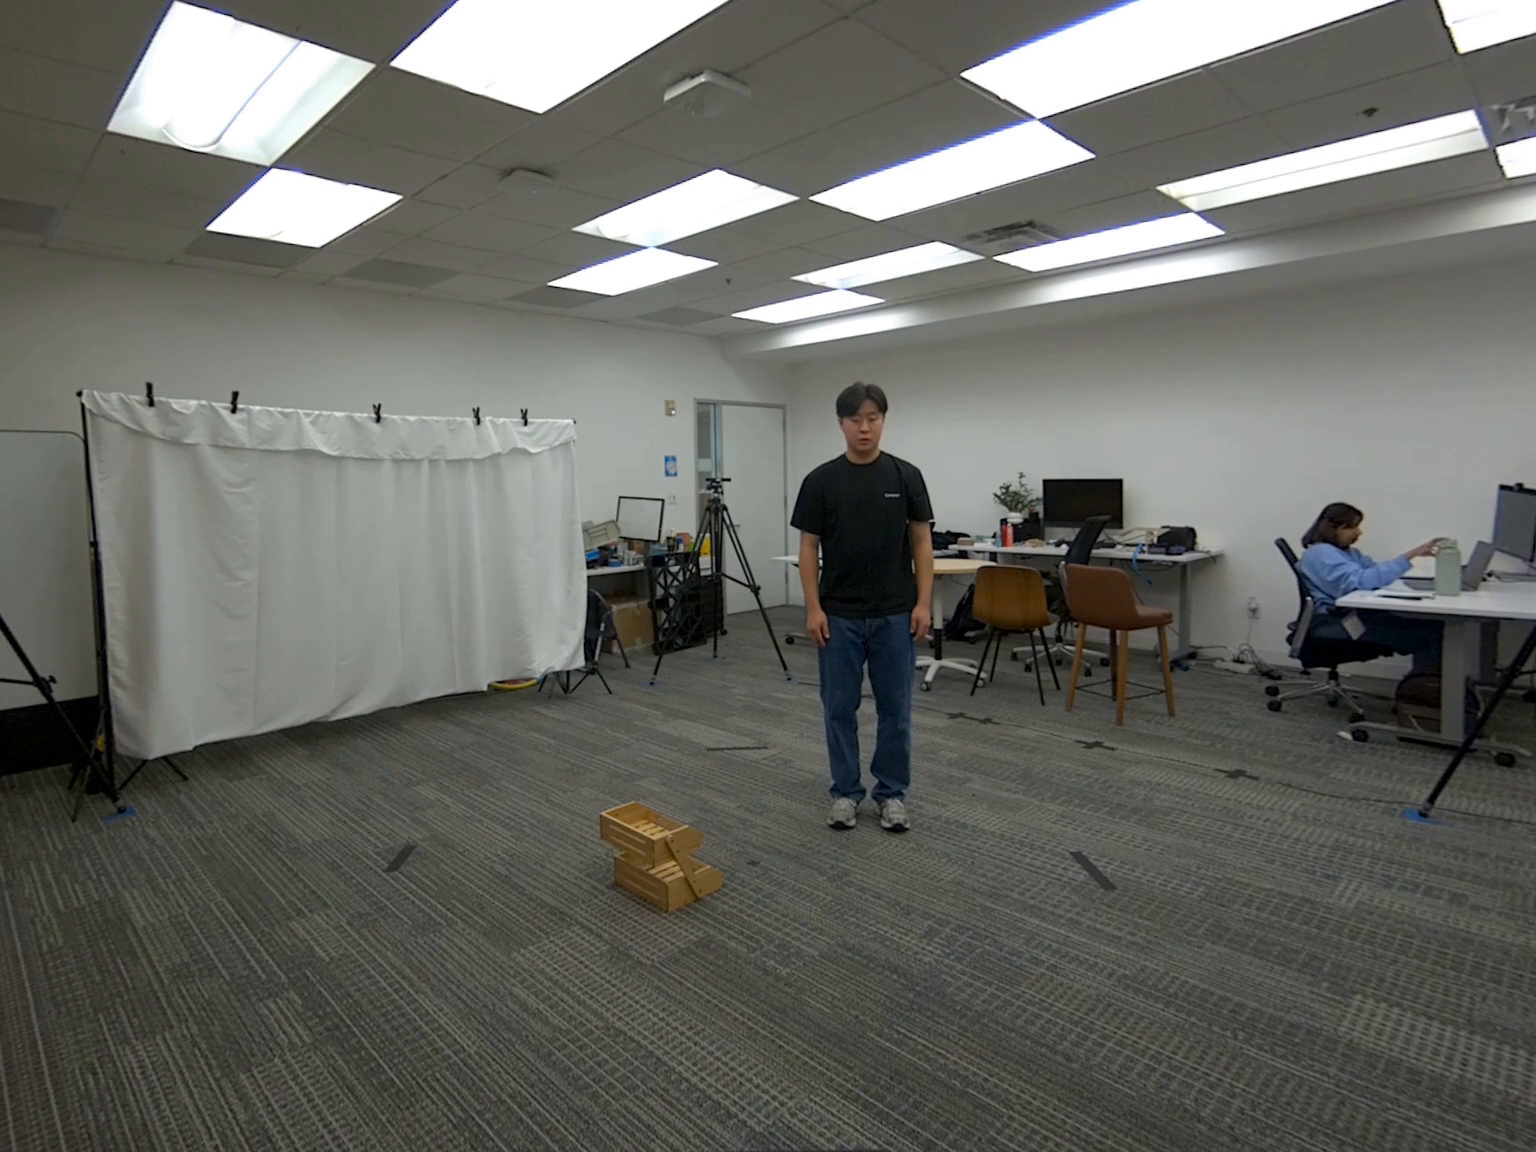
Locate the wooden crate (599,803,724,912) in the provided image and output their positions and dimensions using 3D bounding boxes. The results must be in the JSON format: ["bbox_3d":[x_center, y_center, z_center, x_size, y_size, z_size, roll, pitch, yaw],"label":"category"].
[{"bbox_3d":[-0.358,0.934,2.925,0.294,0.272,0.334,-7,8,-44],"label":"wooden crate"}]
